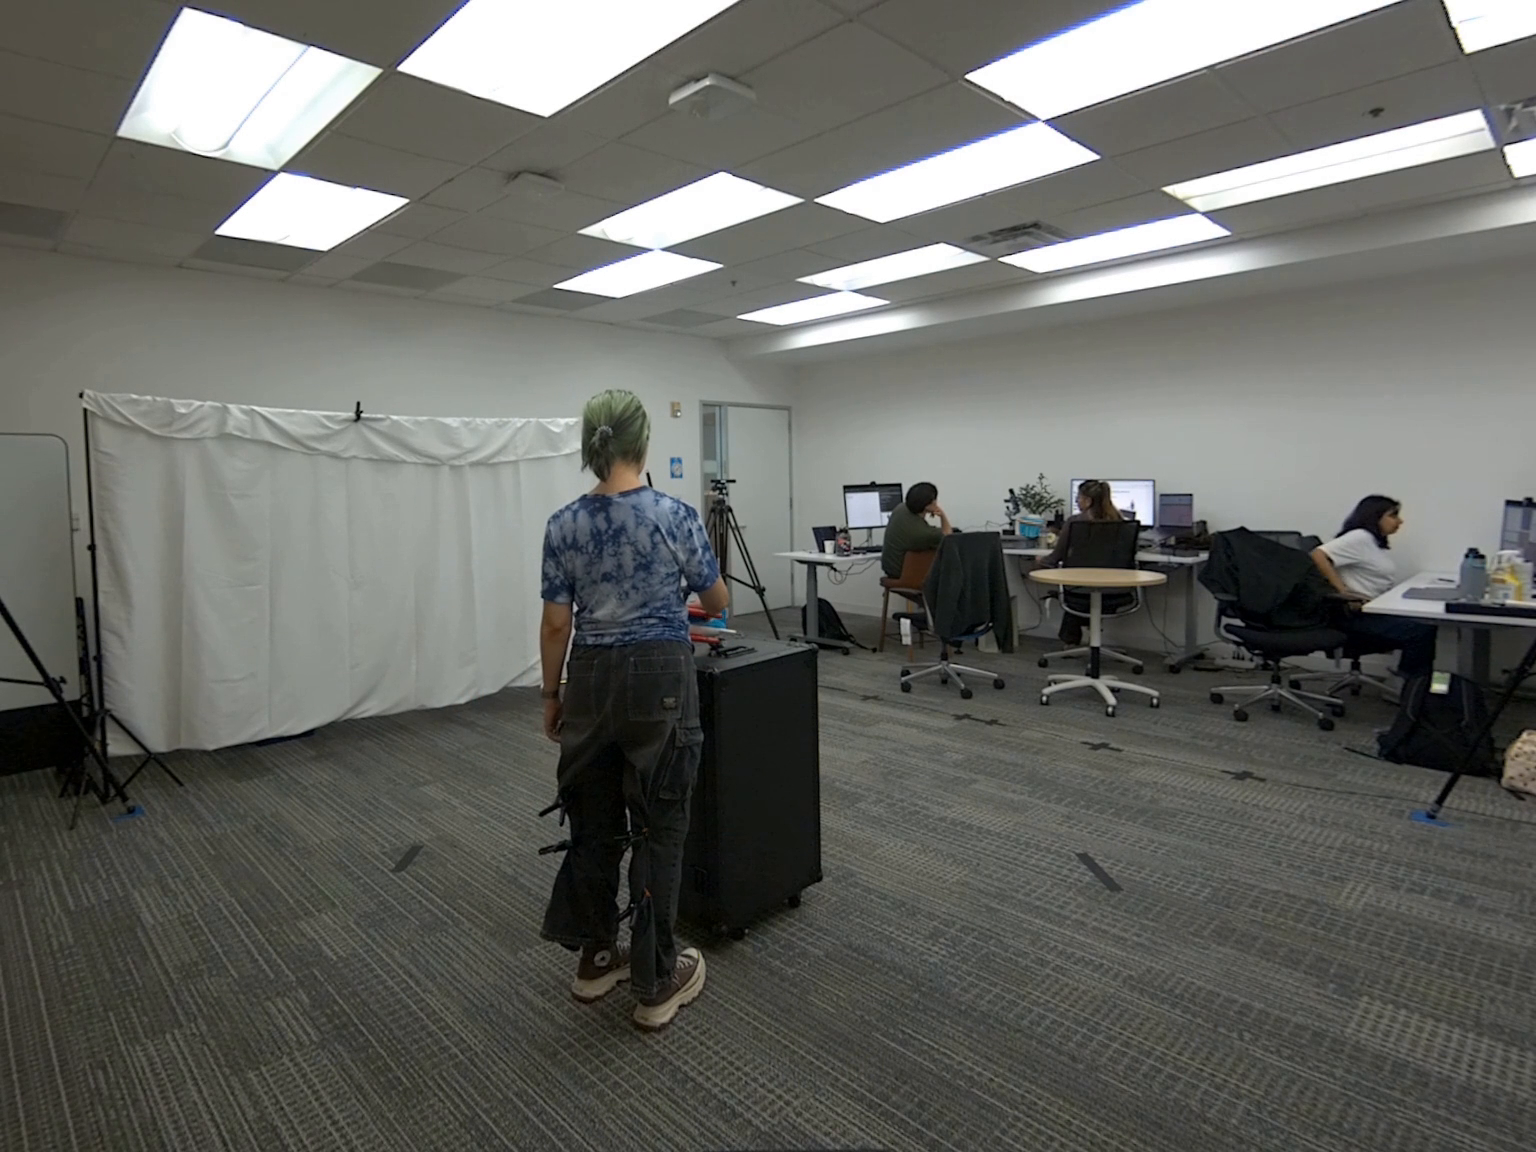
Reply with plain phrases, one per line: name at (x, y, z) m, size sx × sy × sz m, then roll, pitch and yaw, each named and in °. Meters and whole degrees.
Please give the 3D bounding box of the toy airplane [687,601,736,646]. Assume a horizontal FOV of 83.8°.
toy airplane at (-0.245, 0.169, 2.728) m, size 0.255 × 0.156 × 0.256 m, roll -1°, pitch 6°, yaw 15°
